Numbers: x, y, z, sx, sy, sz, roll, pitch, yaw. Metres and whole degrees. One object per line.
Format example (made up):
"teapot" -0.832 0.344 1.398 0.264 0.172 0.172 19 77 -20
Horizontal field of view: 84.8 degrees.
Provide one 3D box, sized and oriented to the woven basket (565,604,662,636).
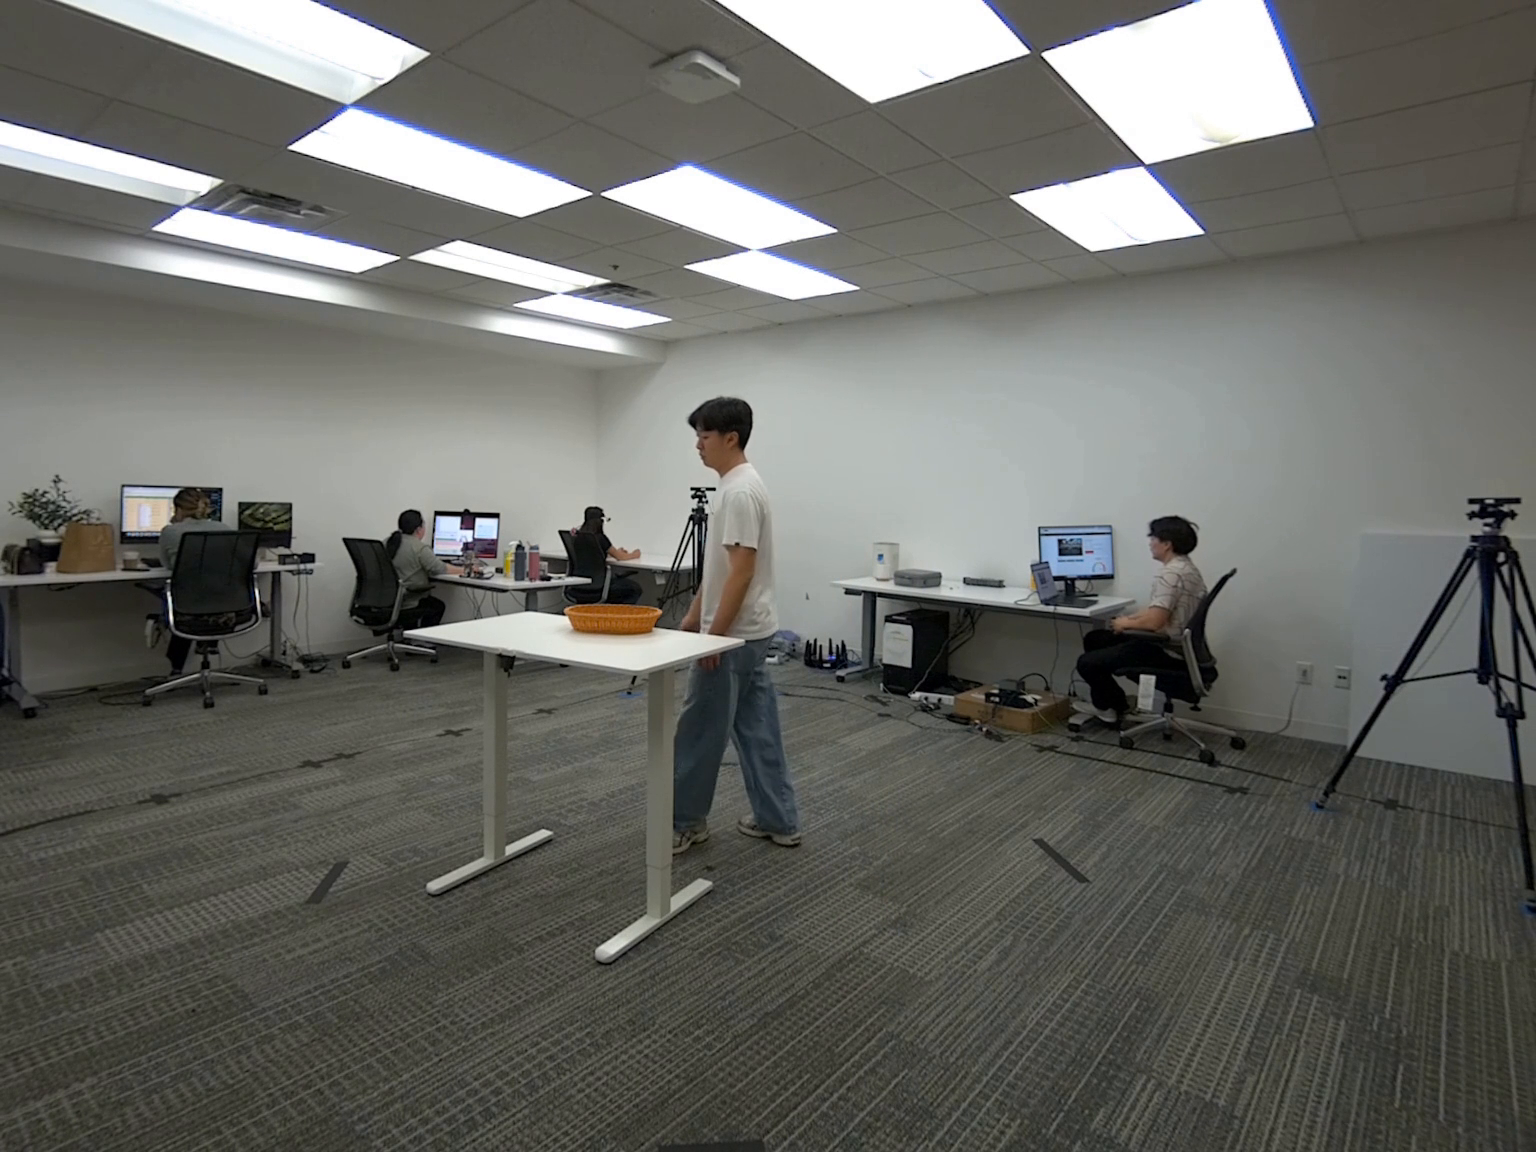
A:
"woven basket" -0.564 0.157 3.002 0.355 0.073 0.250 2 7 11
